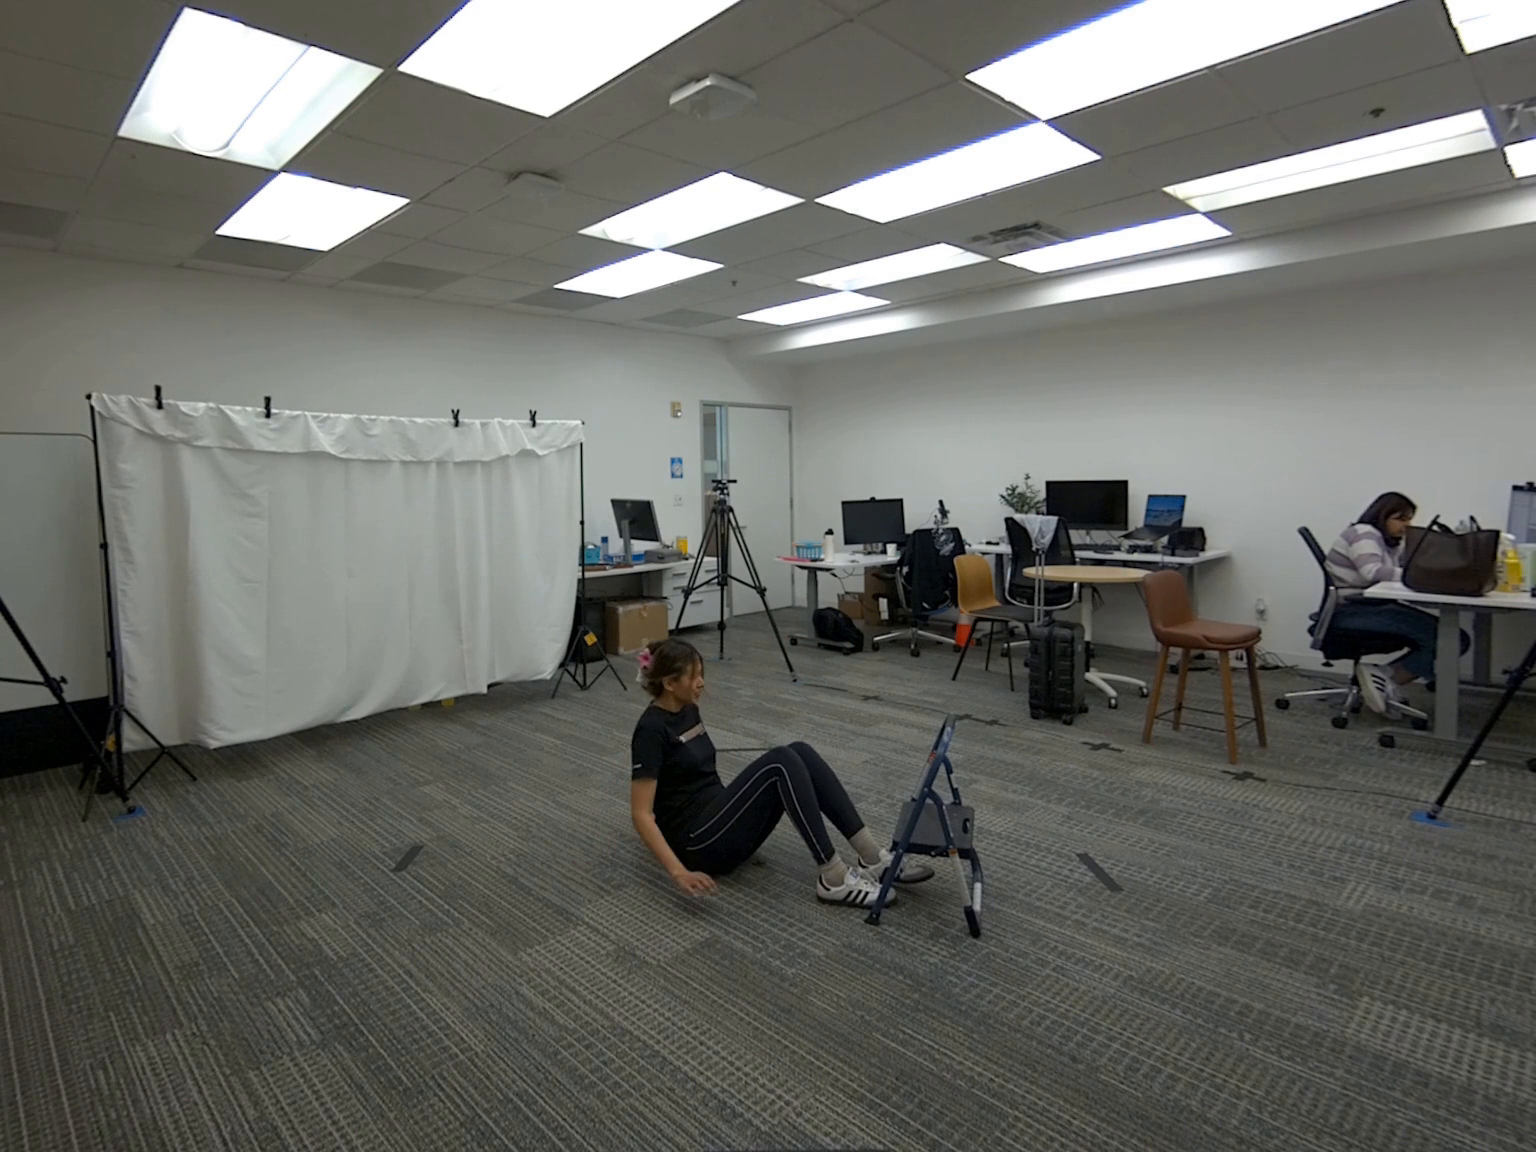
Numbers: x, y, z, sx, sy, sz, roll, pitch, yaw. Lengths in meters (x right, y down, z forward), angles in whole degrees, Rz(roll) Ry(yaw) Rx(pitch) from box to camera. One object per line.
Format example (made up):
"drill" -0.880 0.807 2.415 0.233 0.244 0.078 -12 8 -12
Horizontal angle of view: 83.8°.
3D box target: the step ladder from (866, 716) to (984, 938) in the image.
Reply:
"step ladder" 0.529 0.767 2.801 0.355 0.604 0.425 0 4 15
